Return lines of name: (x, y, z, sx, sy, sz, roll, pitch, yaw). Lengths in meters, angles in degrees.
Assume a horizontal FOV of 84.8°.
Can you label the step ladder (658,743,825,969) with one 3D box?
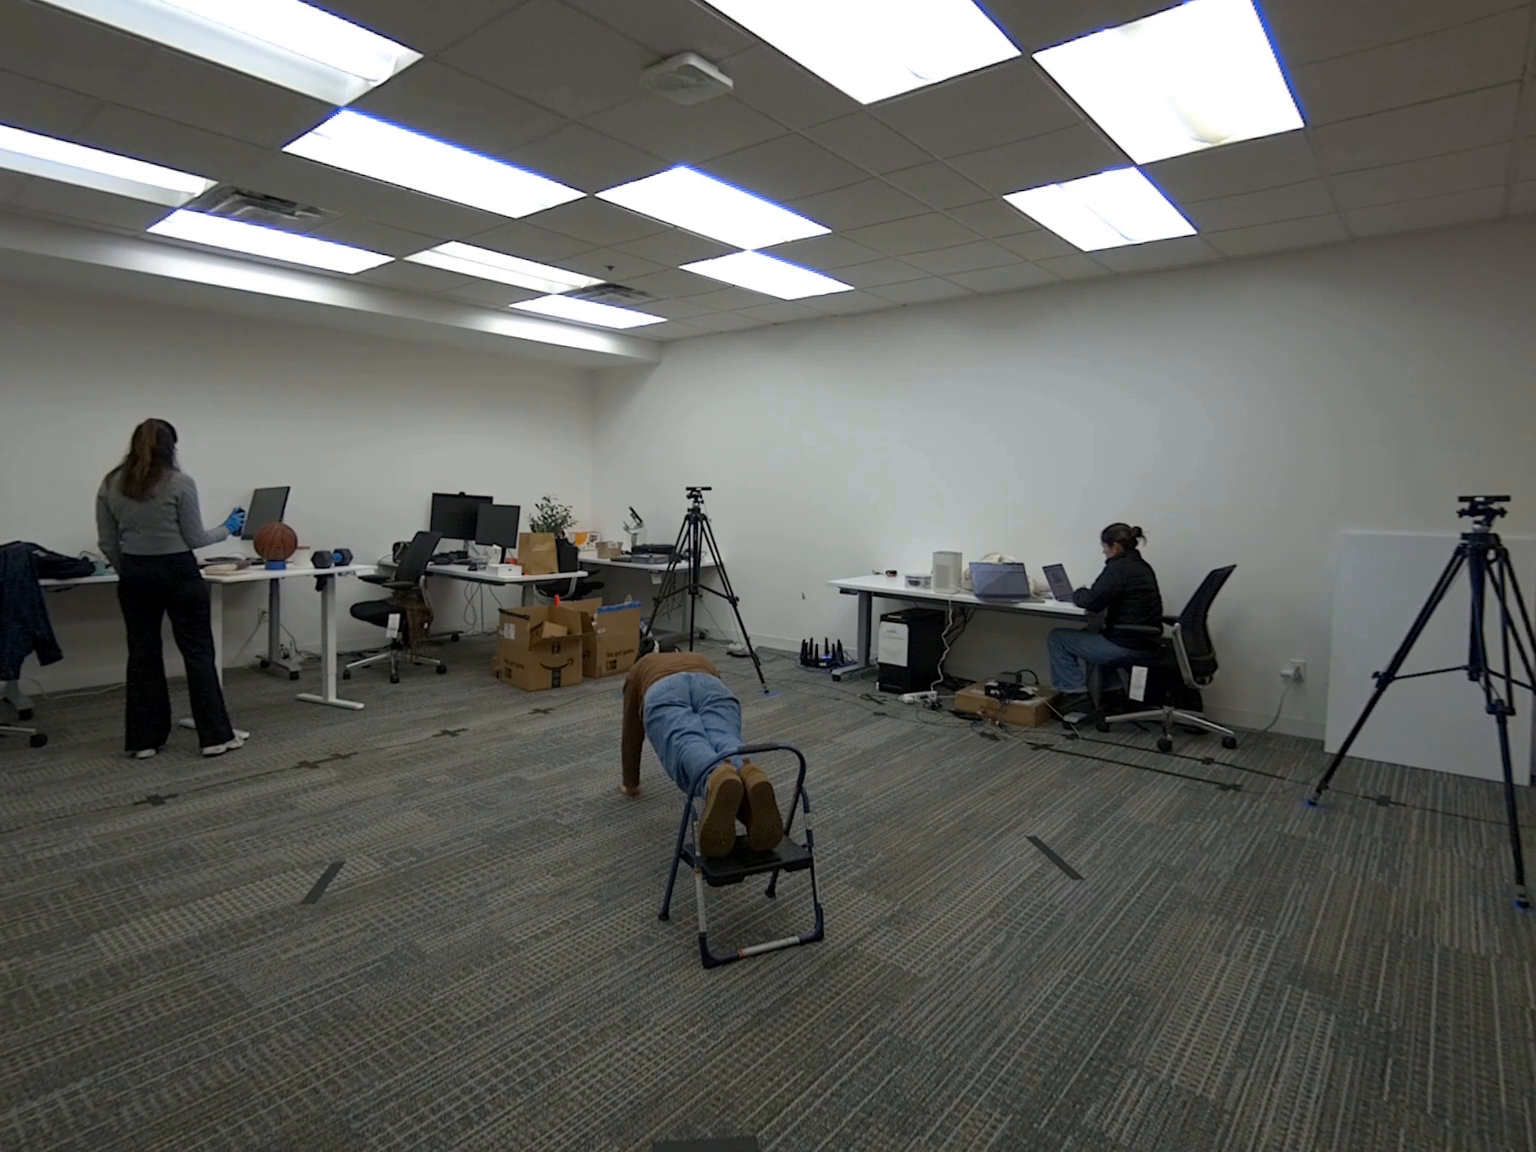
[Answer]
step ladder: (-0.088, 0.808, 2.678, 0.419, 0.604, 0.360, -1, 4, -29)
